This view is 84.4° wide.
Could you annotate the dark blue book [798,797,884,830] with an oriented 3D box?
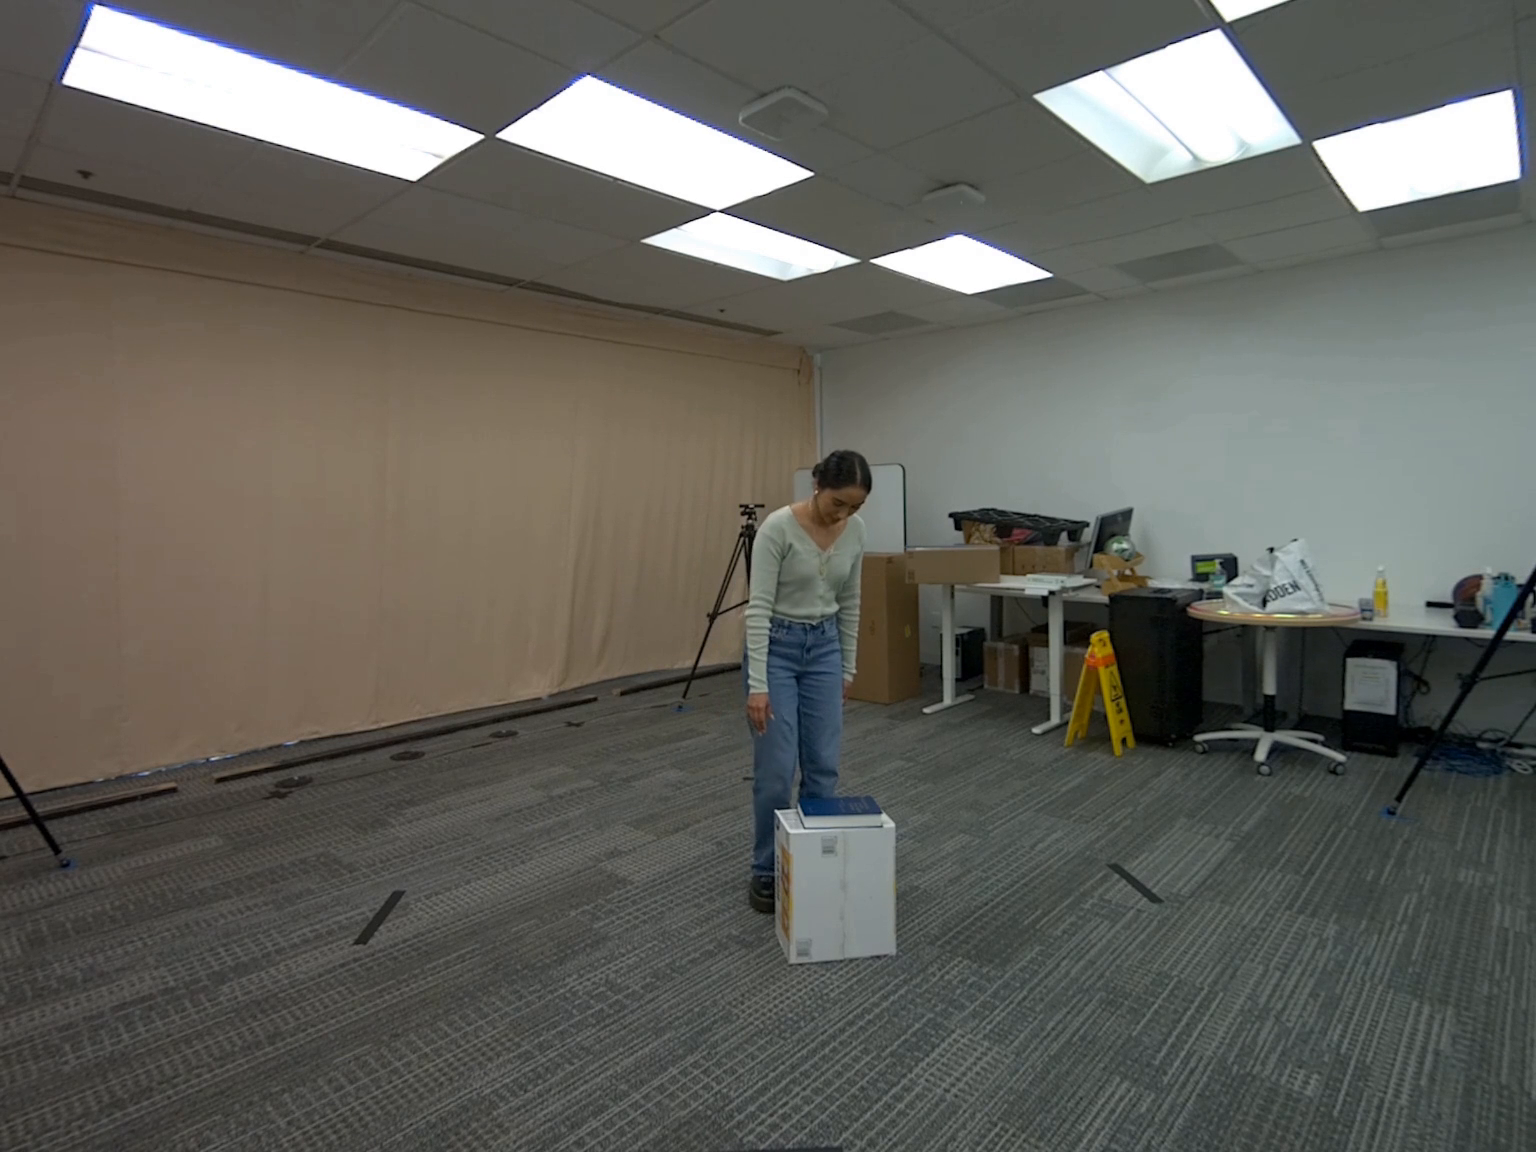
[{"bbox_3d":[0.228,0.742,2.639,0.244,0.045,0.164,-2,5,-3],"label":"dark blue book"}]
